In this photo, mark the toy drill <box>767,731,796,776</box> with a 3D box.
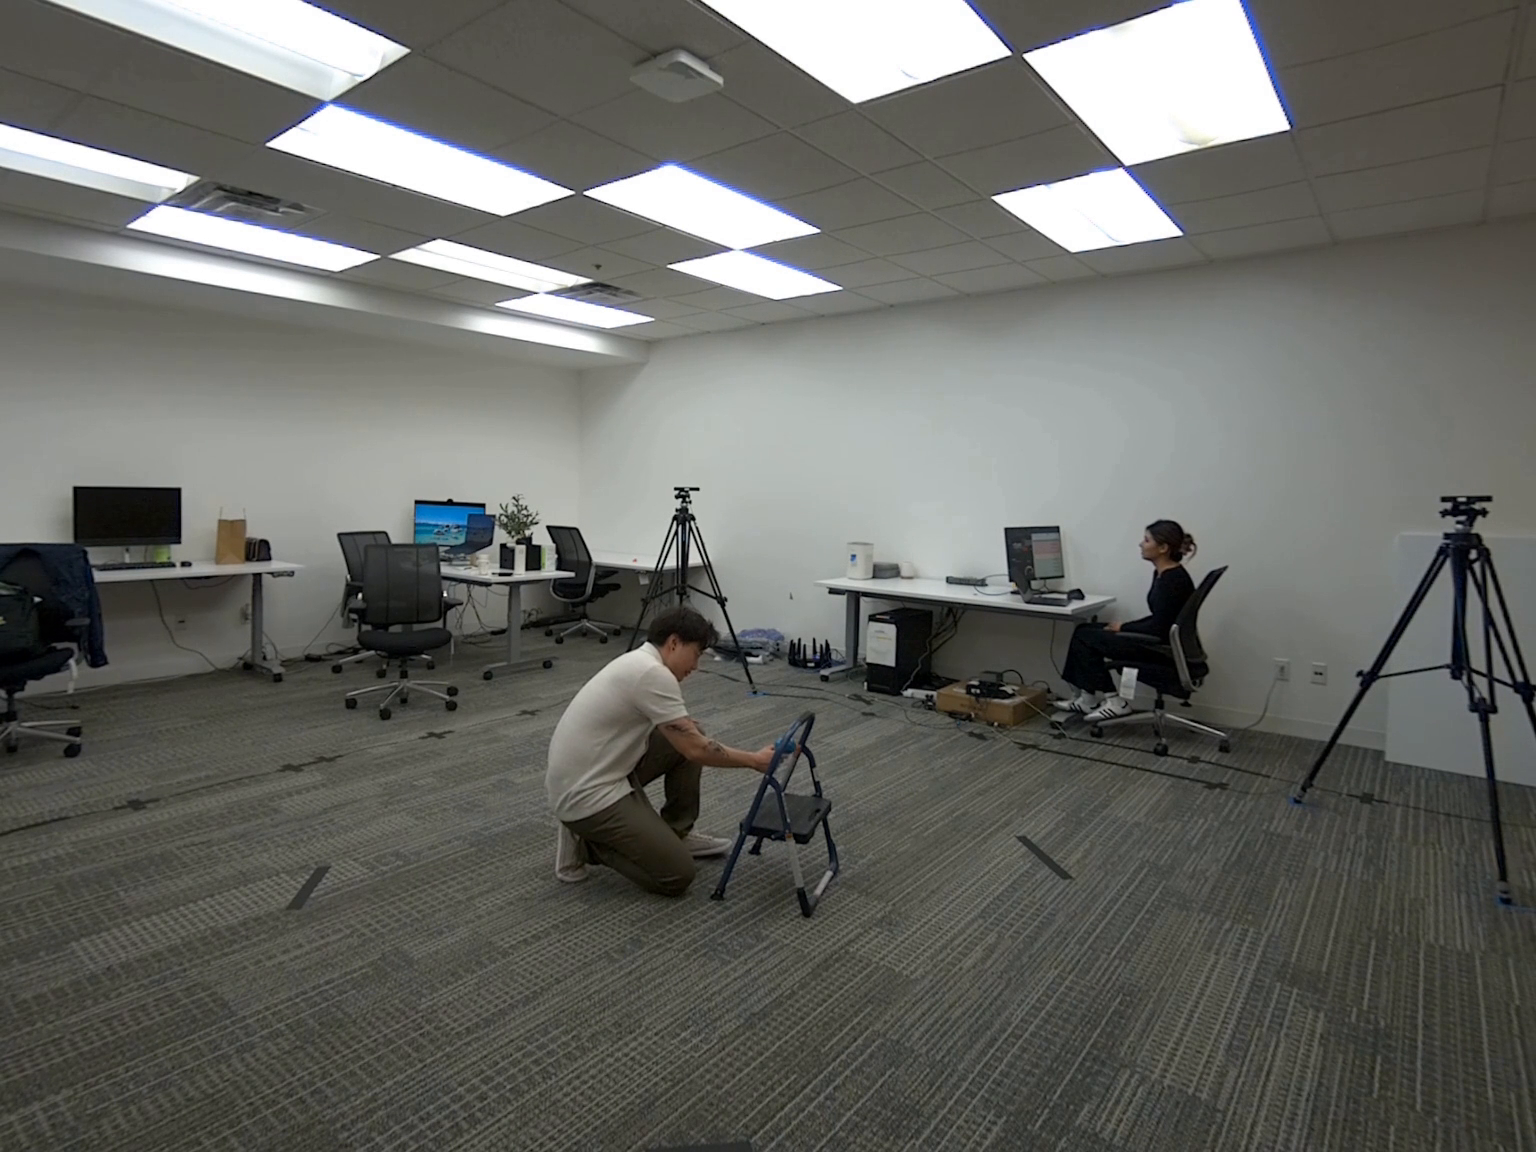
[{"bbox_3d":[0.034,0.653,3.081,0.063,0.146,0.164,47,12,28],"label":"toy drill"}]
